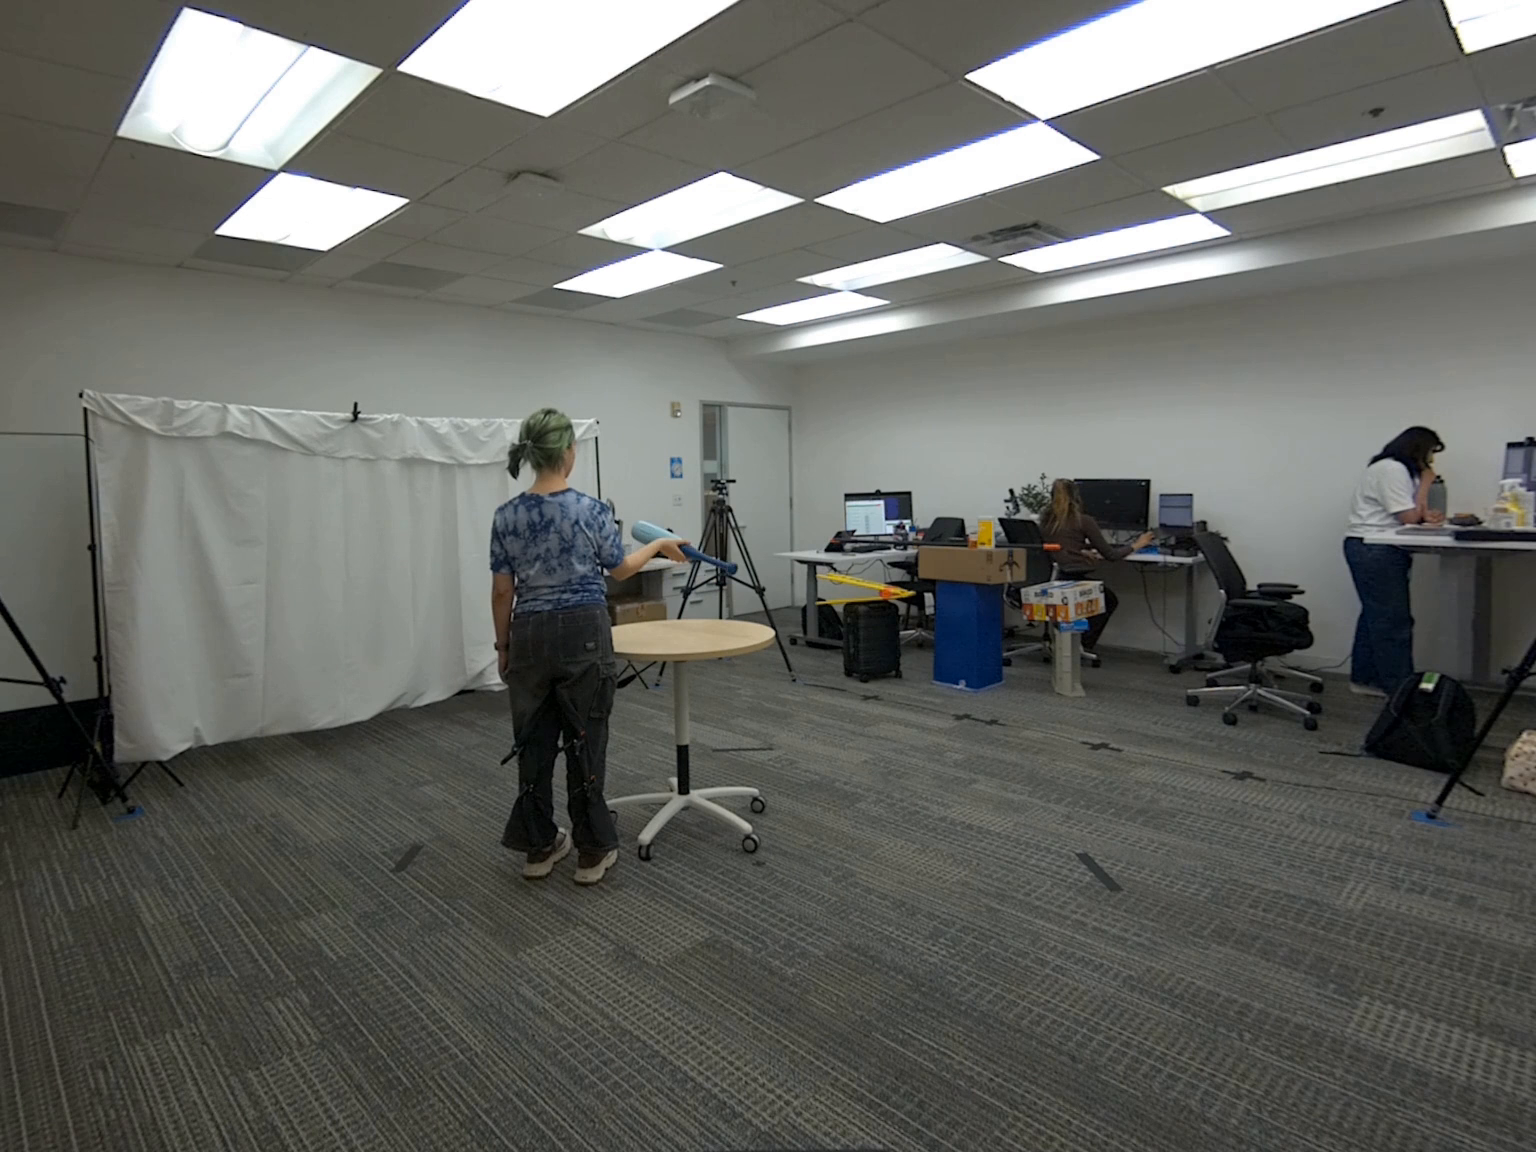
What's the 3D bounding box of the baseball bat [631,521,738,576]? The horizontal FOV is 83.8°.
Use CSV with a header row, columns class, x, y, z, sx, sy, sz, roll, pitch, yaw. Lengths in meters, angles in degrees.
class,x,y,z,sx,sy,sz,roll,pitch,yaw
baseball bat,-0.332,-0.105,3.361,0.562,0.088,0.087,22,17,35
